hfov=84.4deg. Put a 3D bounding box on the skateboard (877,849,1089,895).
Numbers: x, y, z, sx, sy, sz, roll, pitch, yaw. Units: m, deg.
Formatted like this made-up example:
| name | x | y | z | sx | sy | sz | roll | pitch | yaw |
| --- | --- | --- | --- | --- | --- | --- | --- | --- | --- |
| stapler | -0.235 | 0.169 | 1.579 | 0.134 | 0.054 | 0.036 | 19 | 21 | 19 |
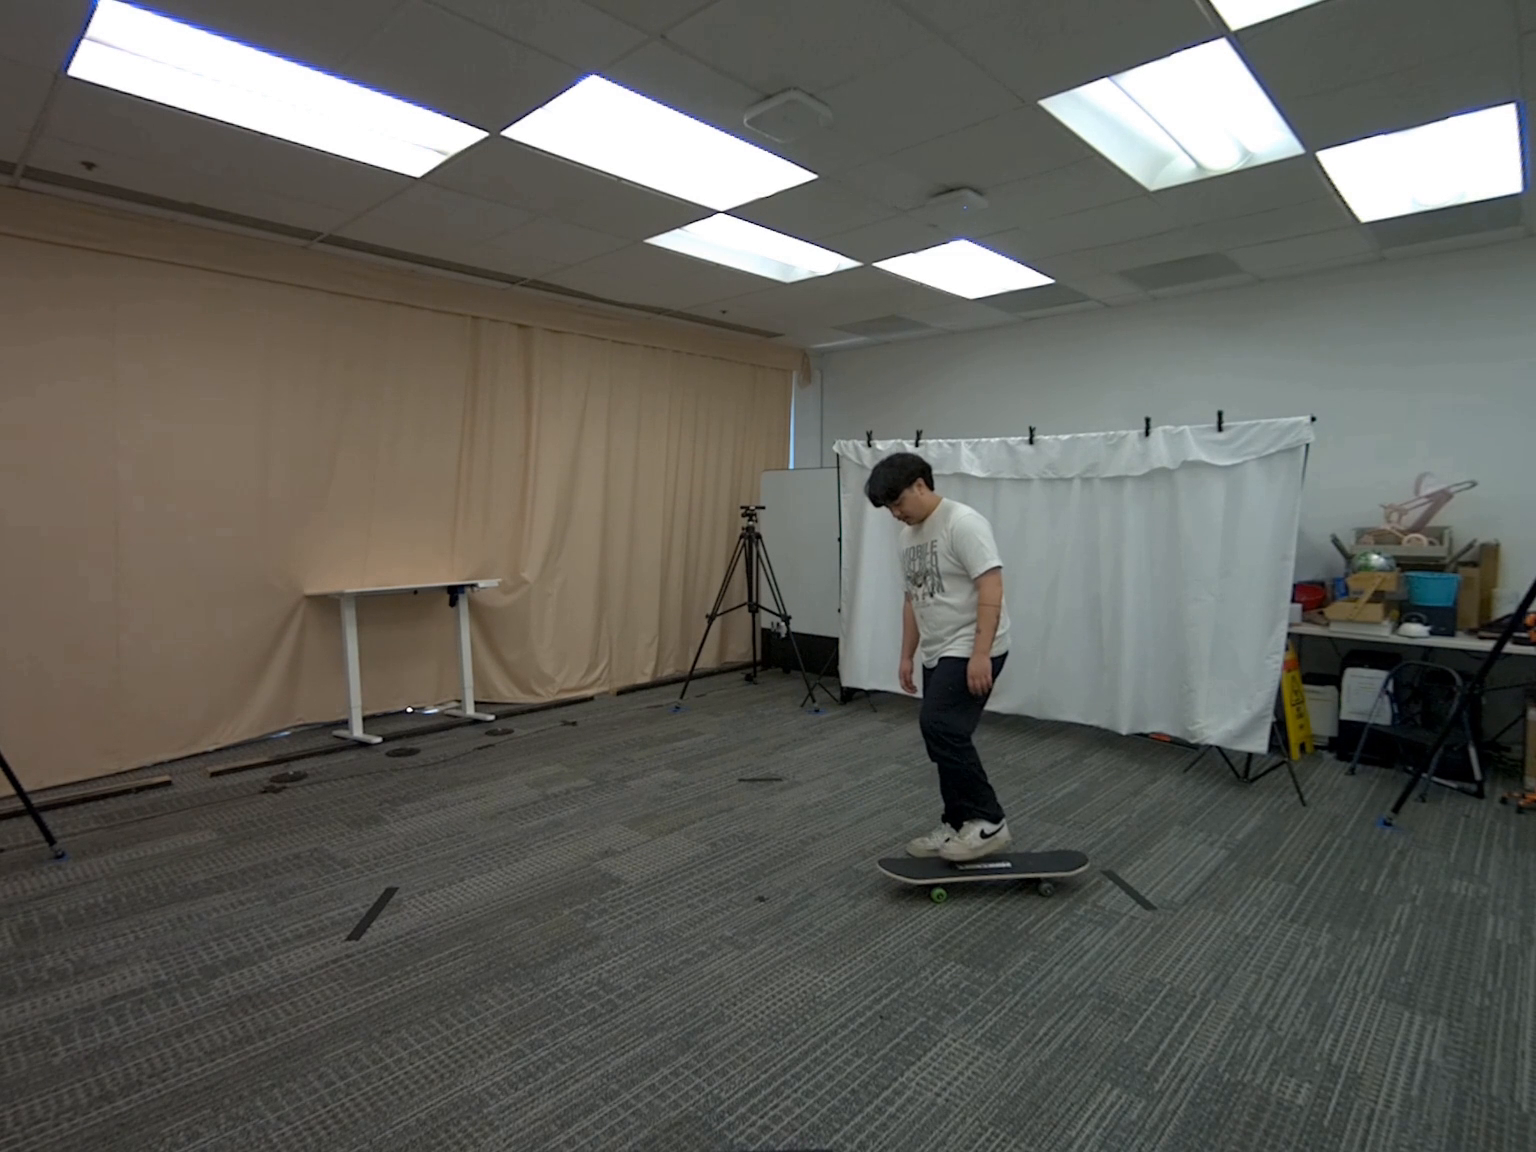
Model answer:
| name | x | y | z | sx | sy | sz | roll | pitch | yaw |
| --- | --- | --- | --- | --- | --- | --- | --- | --- | --- |
| skateboard | 0.786 | 1.076 | 3.051 | 0.779 | 0.110 | 0.195 | -1 | 4 | -7 |
